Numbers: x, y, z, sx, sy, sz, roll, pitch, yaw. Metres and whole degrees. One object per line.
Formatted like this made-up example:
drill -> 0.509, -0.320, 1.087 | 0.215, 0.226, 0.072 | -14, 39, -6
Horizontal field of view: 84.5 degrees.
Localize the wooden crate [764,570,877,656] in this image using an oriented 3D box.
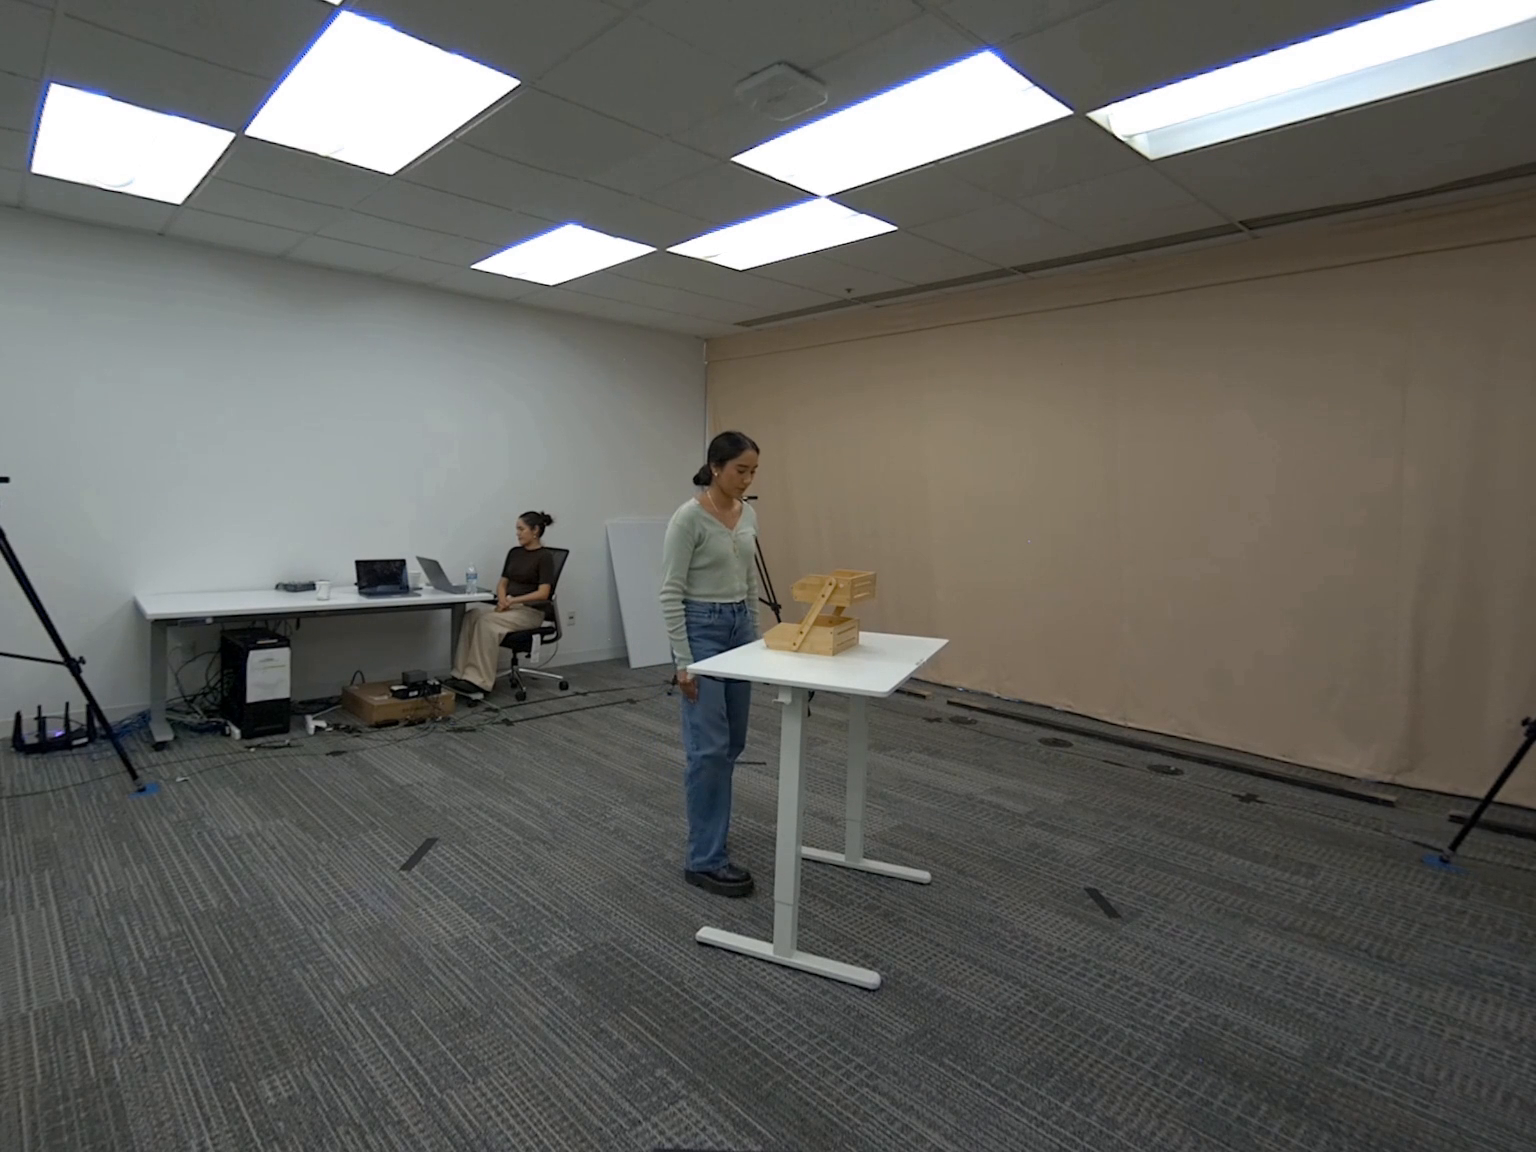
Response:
wooden crate -> 0.176, 0.116, 2.901 | 0.308, 0.272, 0.319 | 5, 5, 23
